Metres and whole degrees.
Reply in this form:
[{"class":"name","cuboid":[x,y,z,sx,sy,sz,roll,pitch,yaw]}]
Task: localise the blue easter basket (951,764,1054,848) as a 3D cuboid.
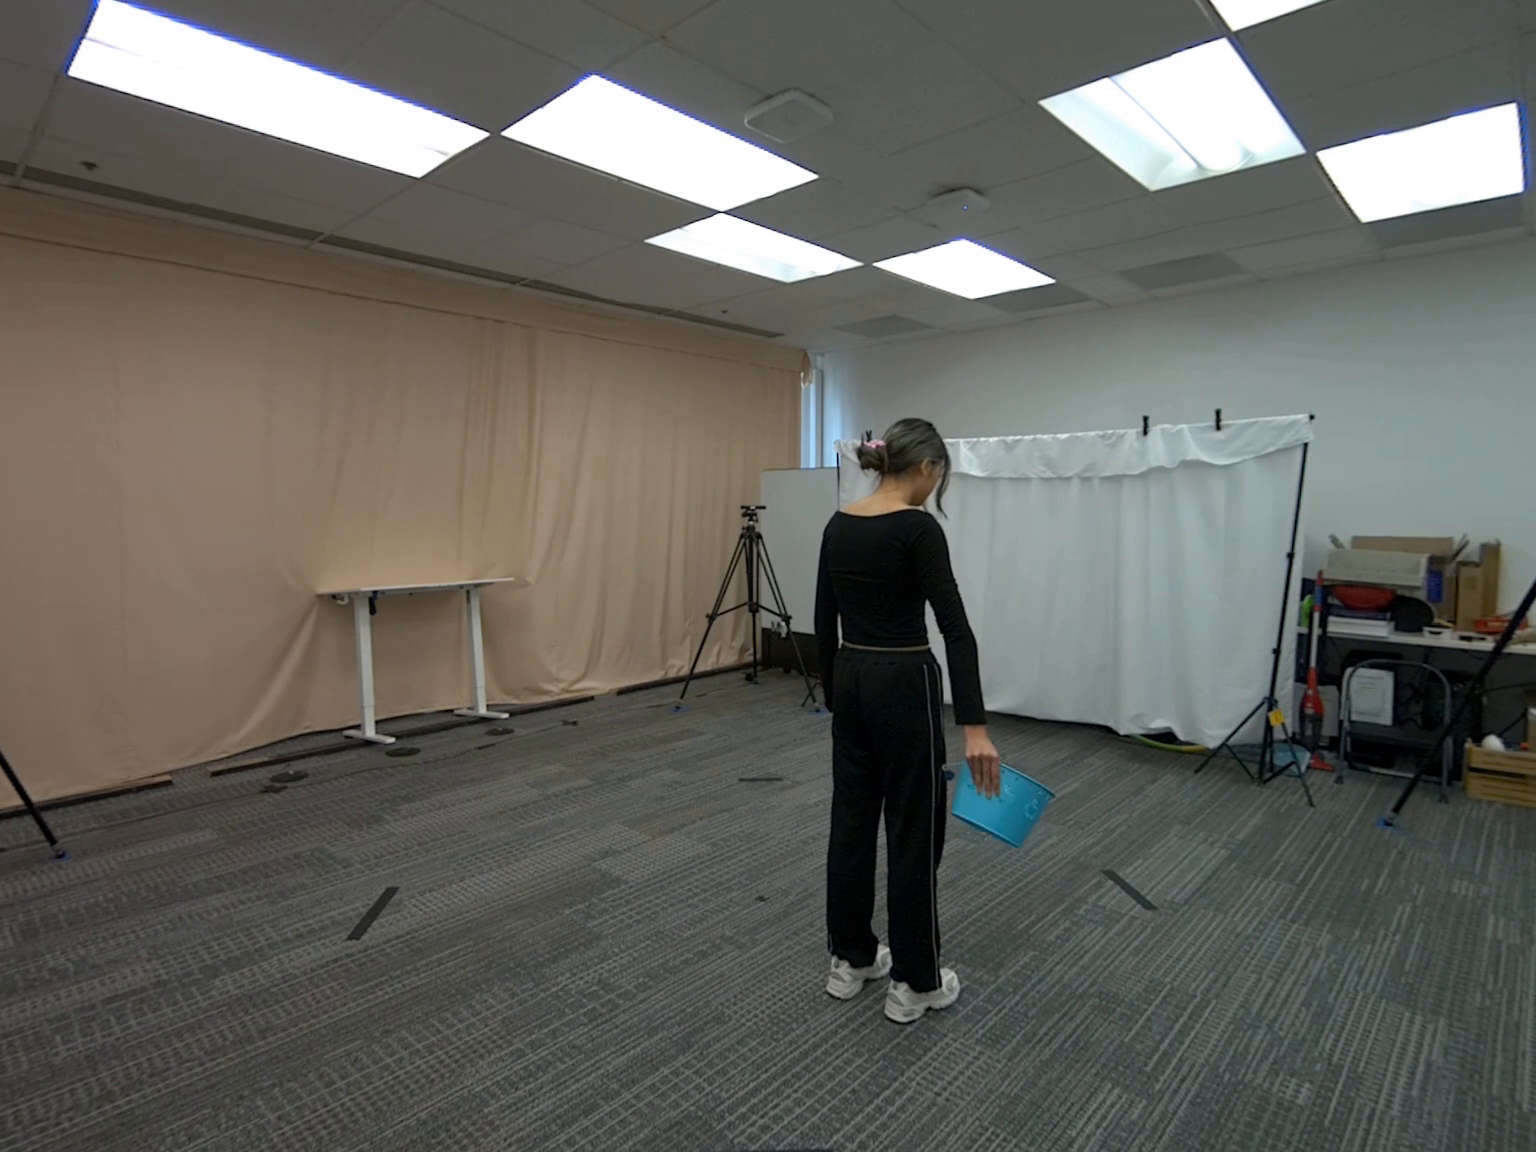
[{"class":"blue easter basket","cuboid":[0.581,0.557,2.081,0.245,0.156,0.242,28,-8,2]}]
